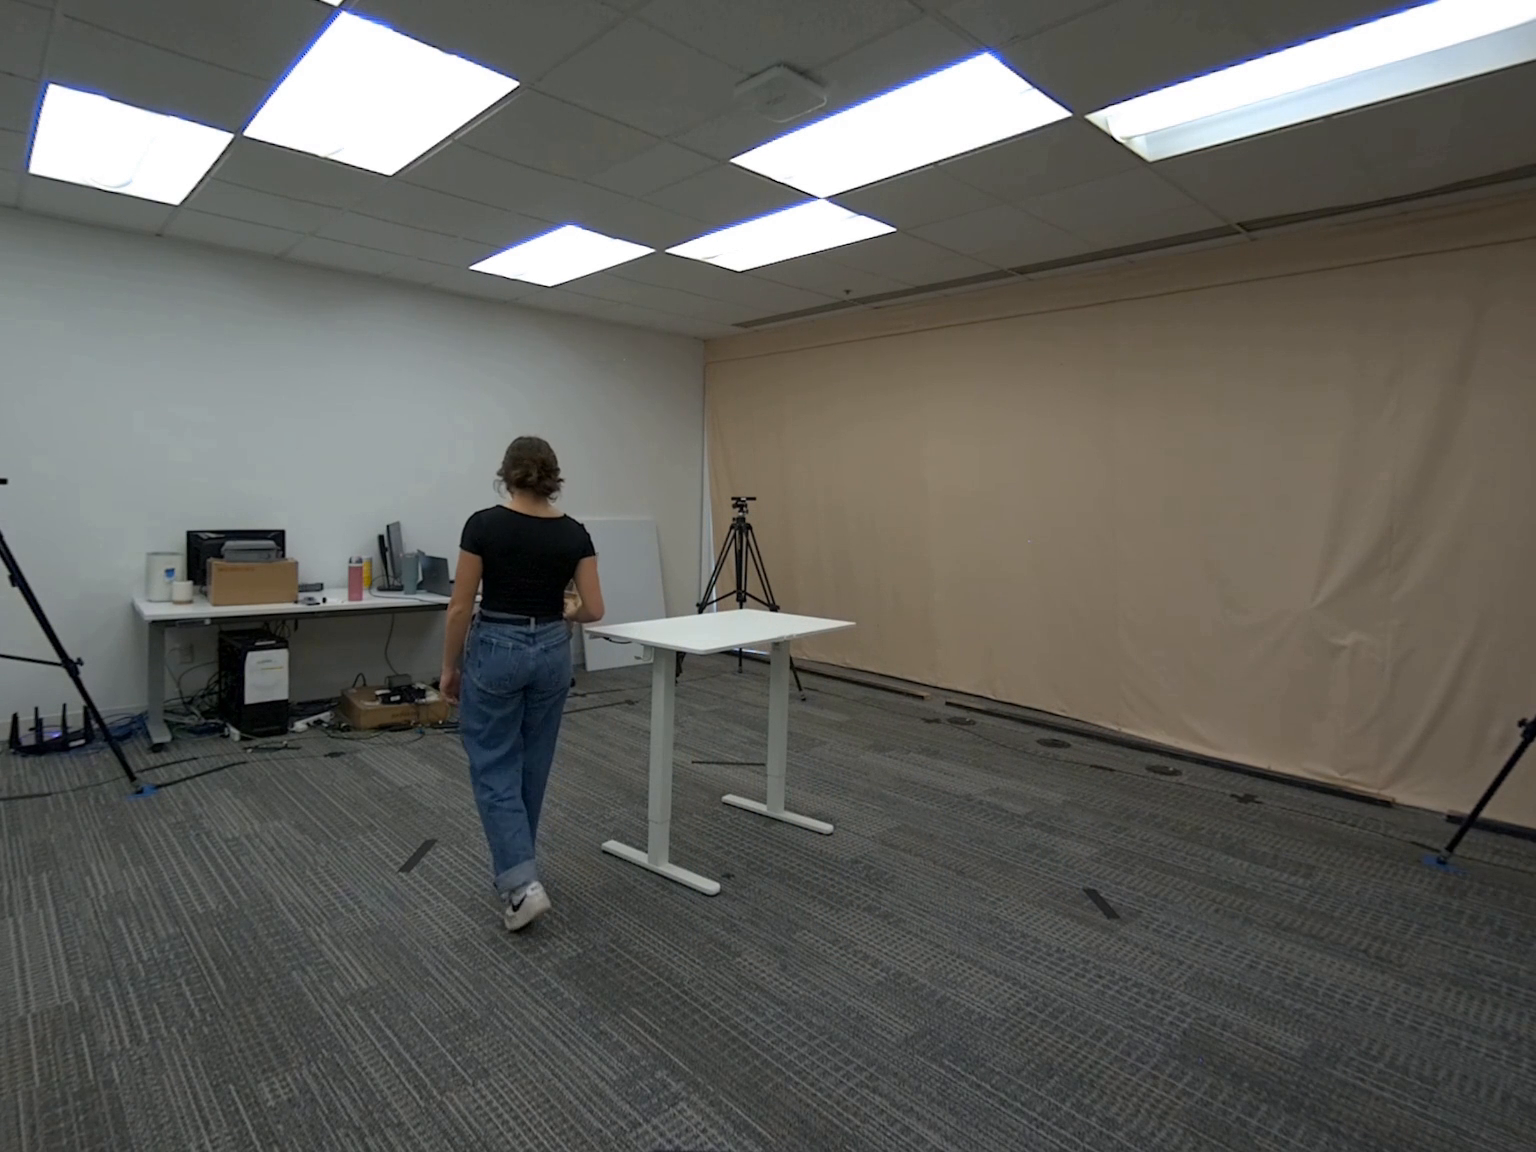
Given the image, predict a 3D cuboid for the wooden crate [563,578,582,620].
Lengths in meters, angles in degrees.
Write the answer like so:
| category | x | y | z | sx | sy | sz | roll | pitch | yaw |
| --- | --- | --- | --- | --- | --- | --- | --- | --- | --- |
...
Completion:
| category | x | y | z | sx | sy | sz | roll | pitch | yaw |
| --- | --- | --- | --- | --- | --- | --- | --- | --- | --- |
| wooden crate | -0.861 | 0.024 | 3.166 | 0.329 | 0.272 | 0.299 | 11 | 8 | 14 |
